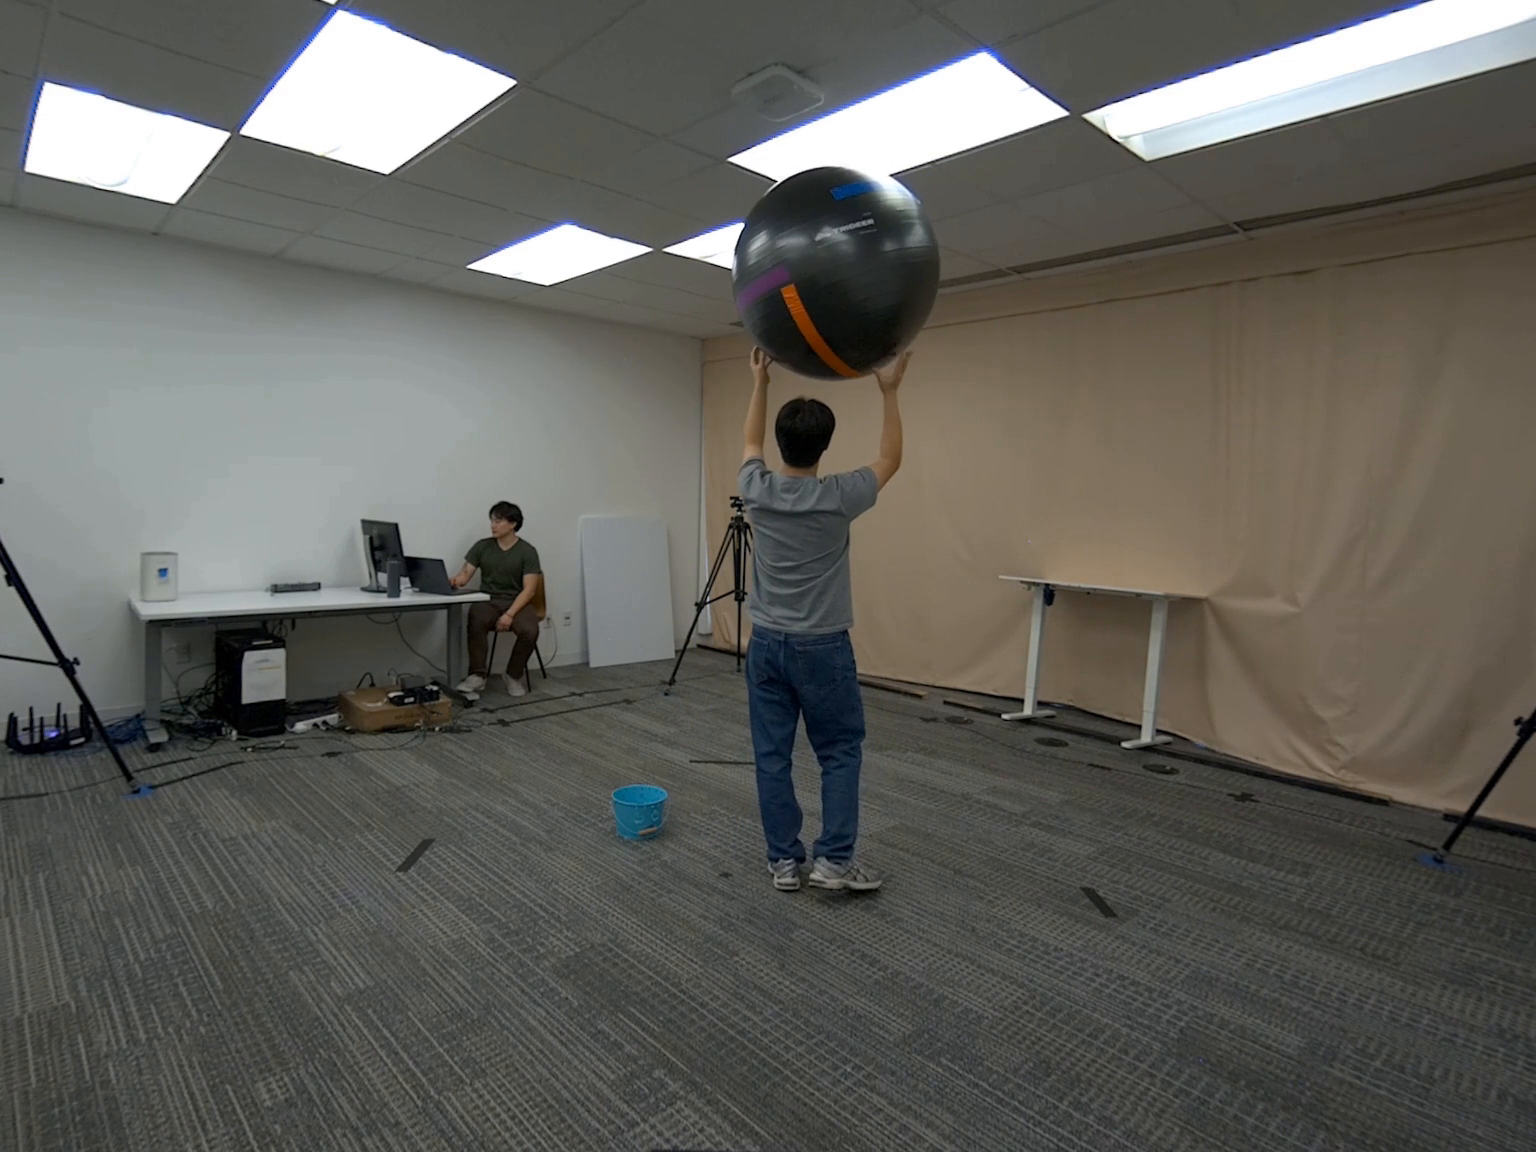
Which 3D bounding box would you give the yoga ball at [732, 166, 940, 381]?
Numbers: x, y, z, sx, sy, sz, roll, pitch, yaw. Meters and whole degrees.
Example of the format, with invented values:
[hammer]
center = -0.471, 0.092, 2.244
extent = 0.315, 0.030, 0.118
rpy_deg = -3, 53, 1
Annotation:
[yoga ball]
center = 0.240, -1.089, 3.089
extent = 0.757, 0.756, 0.761
rpy_deg = 1, 4, -1
